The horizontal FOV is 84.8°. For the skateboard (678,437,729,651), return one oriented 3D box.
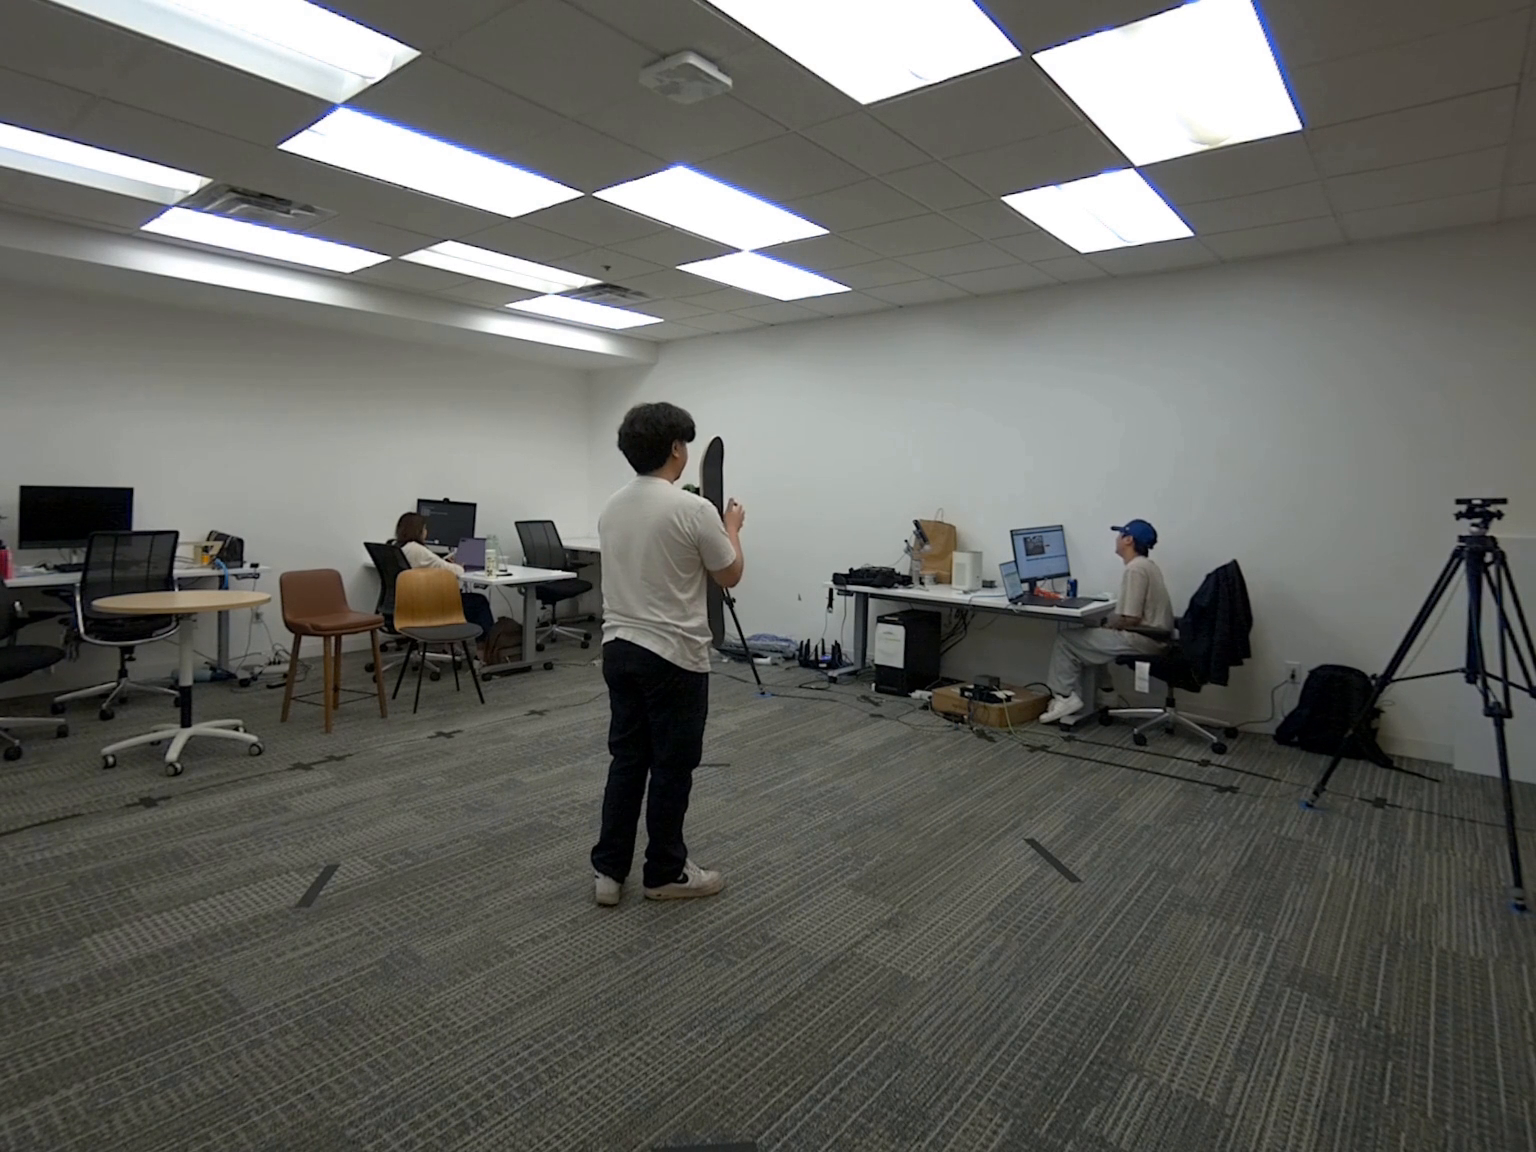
[{"bbox_3d":[-0.242,-0.125,3.165,0.113,0.781,0.190,2,6,22],"label":"skateboard"}]
